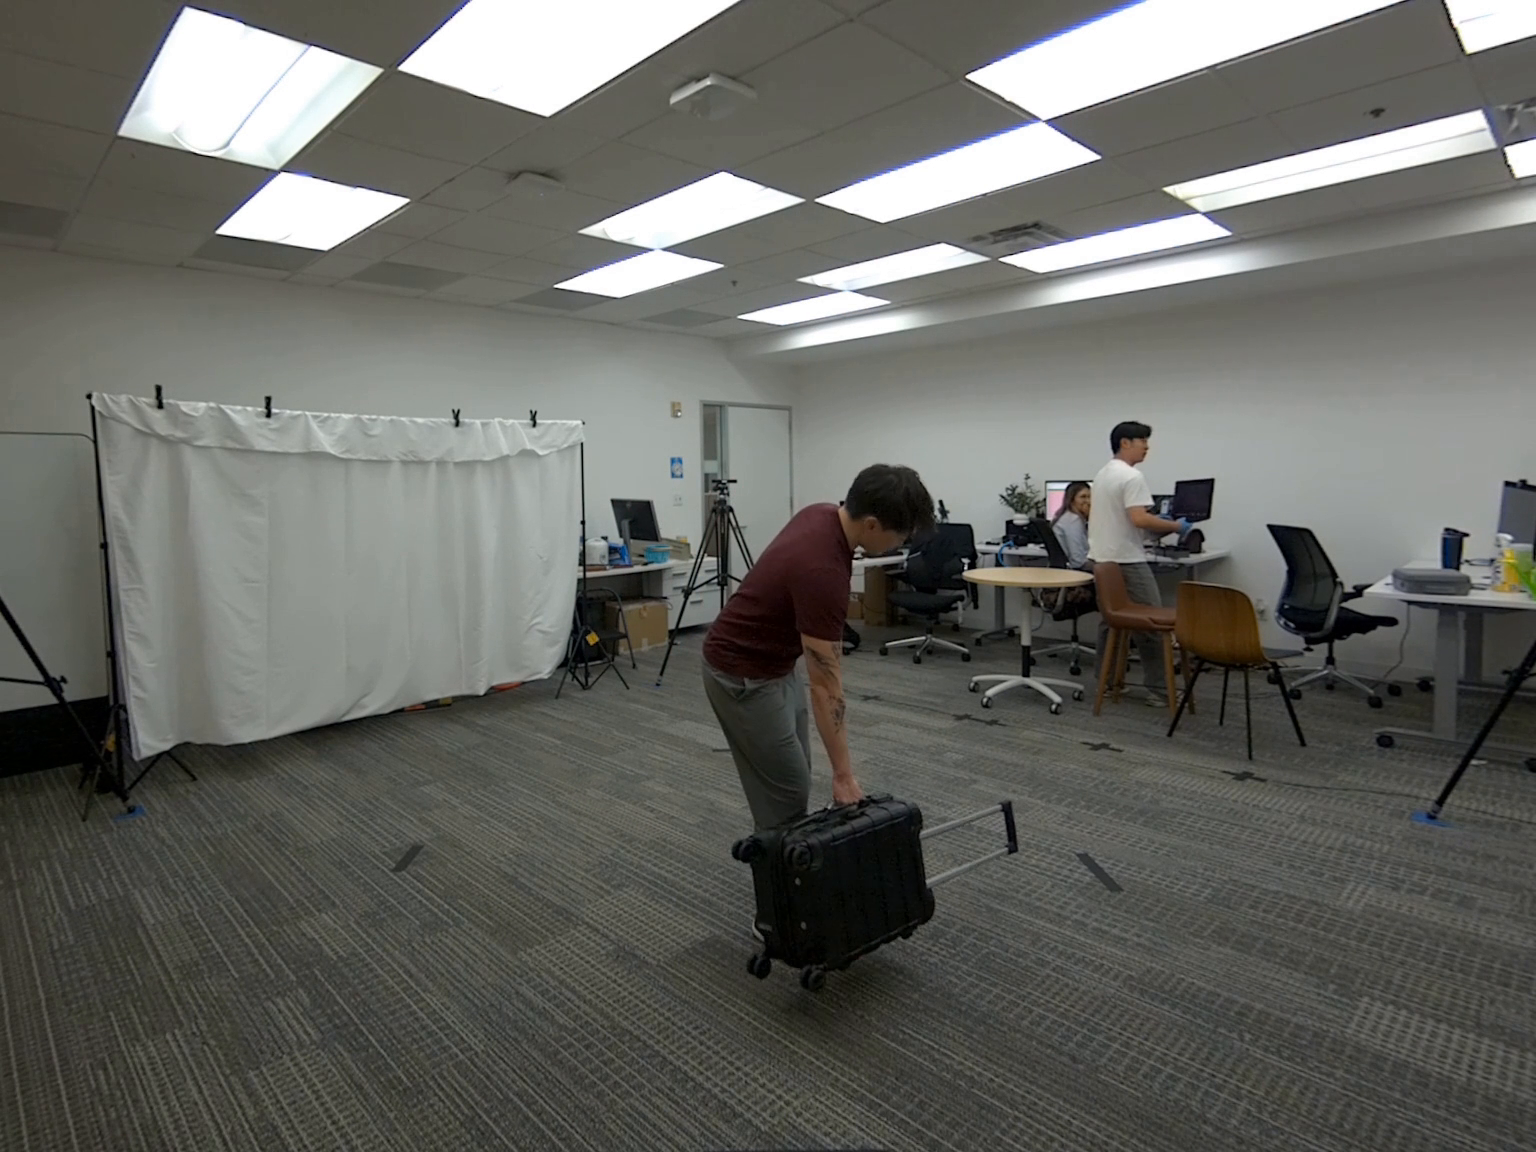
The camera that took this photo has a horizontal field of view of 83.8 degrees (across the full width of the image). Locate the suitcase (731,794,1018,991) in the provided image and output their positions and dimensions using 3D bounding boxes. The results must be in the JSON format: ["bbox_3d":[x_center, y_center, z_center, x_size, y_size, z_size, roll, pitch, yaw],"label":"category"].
[{"bbox_3d":[0.356,0.822,2.487,0.952,0.387,0.262,-4,-8,-42],"label":"suitcase"}]
